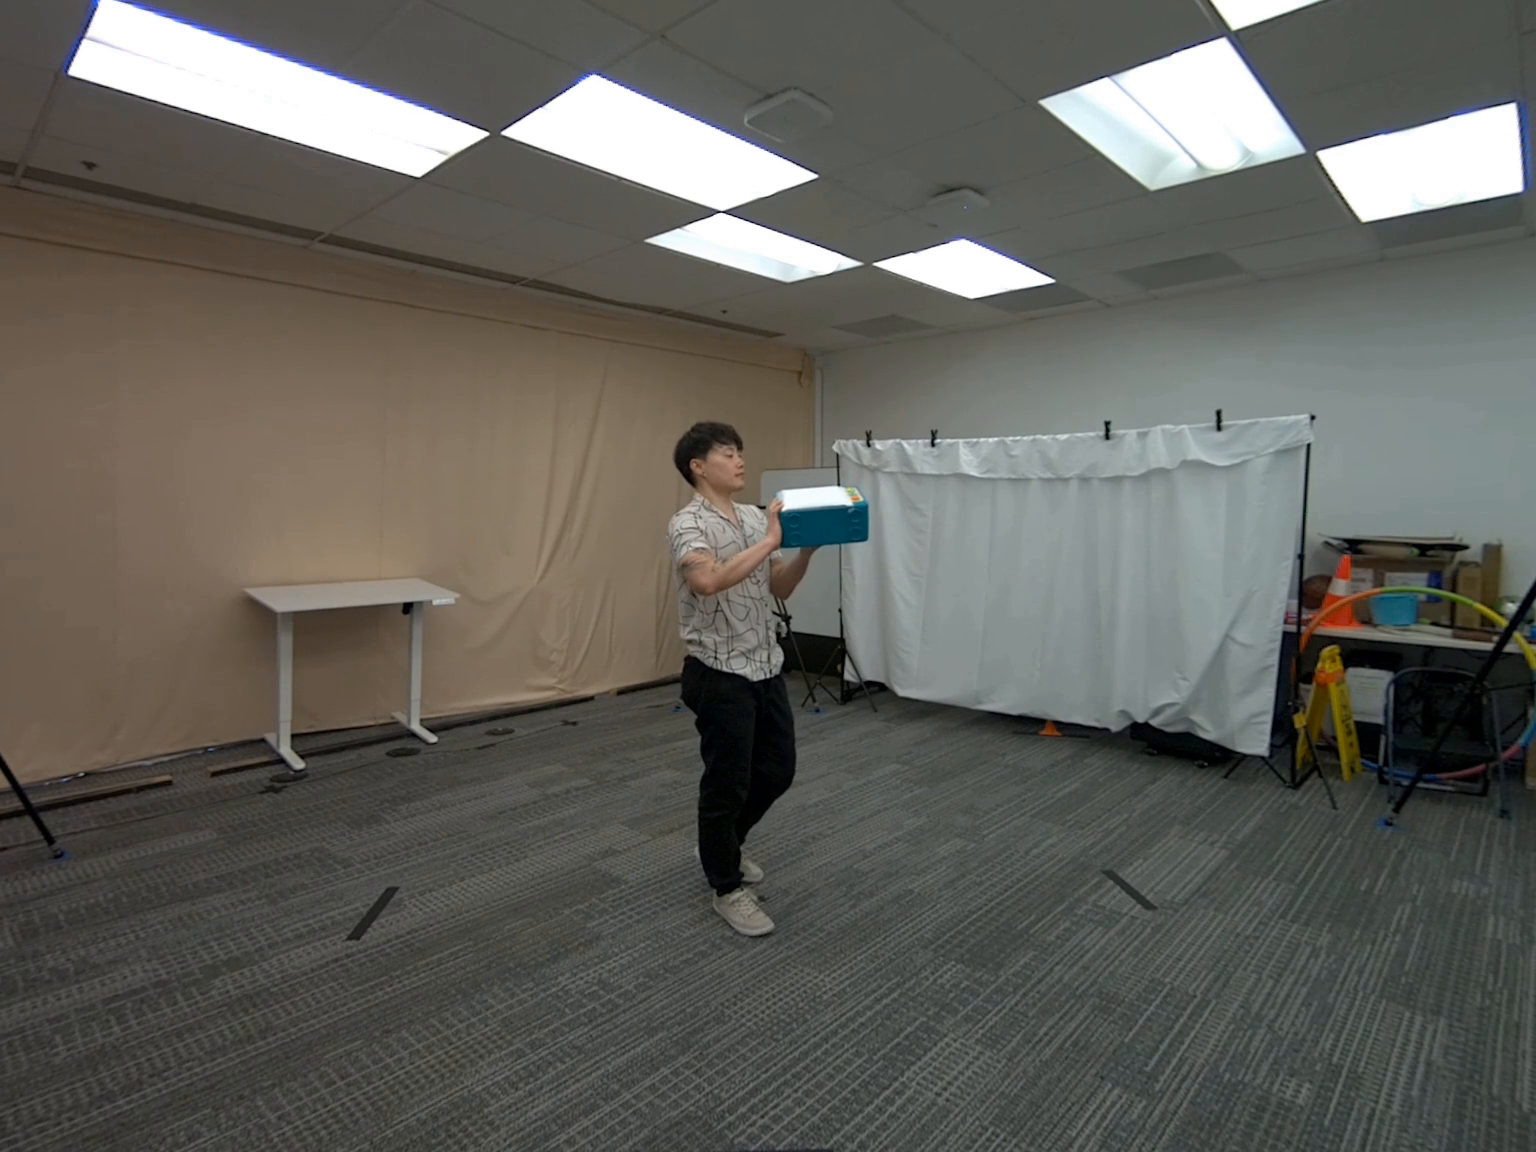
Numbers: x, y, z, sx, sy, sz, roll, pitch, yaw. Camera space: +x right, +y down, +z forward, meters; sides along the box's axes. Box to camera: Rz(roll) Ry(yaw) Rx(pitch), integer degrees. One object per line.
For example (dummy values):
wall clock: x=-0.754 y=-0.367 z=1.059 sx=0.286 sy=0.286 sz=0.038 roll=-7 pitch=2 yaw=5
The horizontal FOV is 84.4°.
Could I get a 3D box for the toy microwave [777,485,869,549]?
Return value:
toy microwave: x=0.170 y=-0.193 z=2.646 sx=0.287 sy=0.150 sz=0.186 roll=-4 pitch=22 yaw=1
